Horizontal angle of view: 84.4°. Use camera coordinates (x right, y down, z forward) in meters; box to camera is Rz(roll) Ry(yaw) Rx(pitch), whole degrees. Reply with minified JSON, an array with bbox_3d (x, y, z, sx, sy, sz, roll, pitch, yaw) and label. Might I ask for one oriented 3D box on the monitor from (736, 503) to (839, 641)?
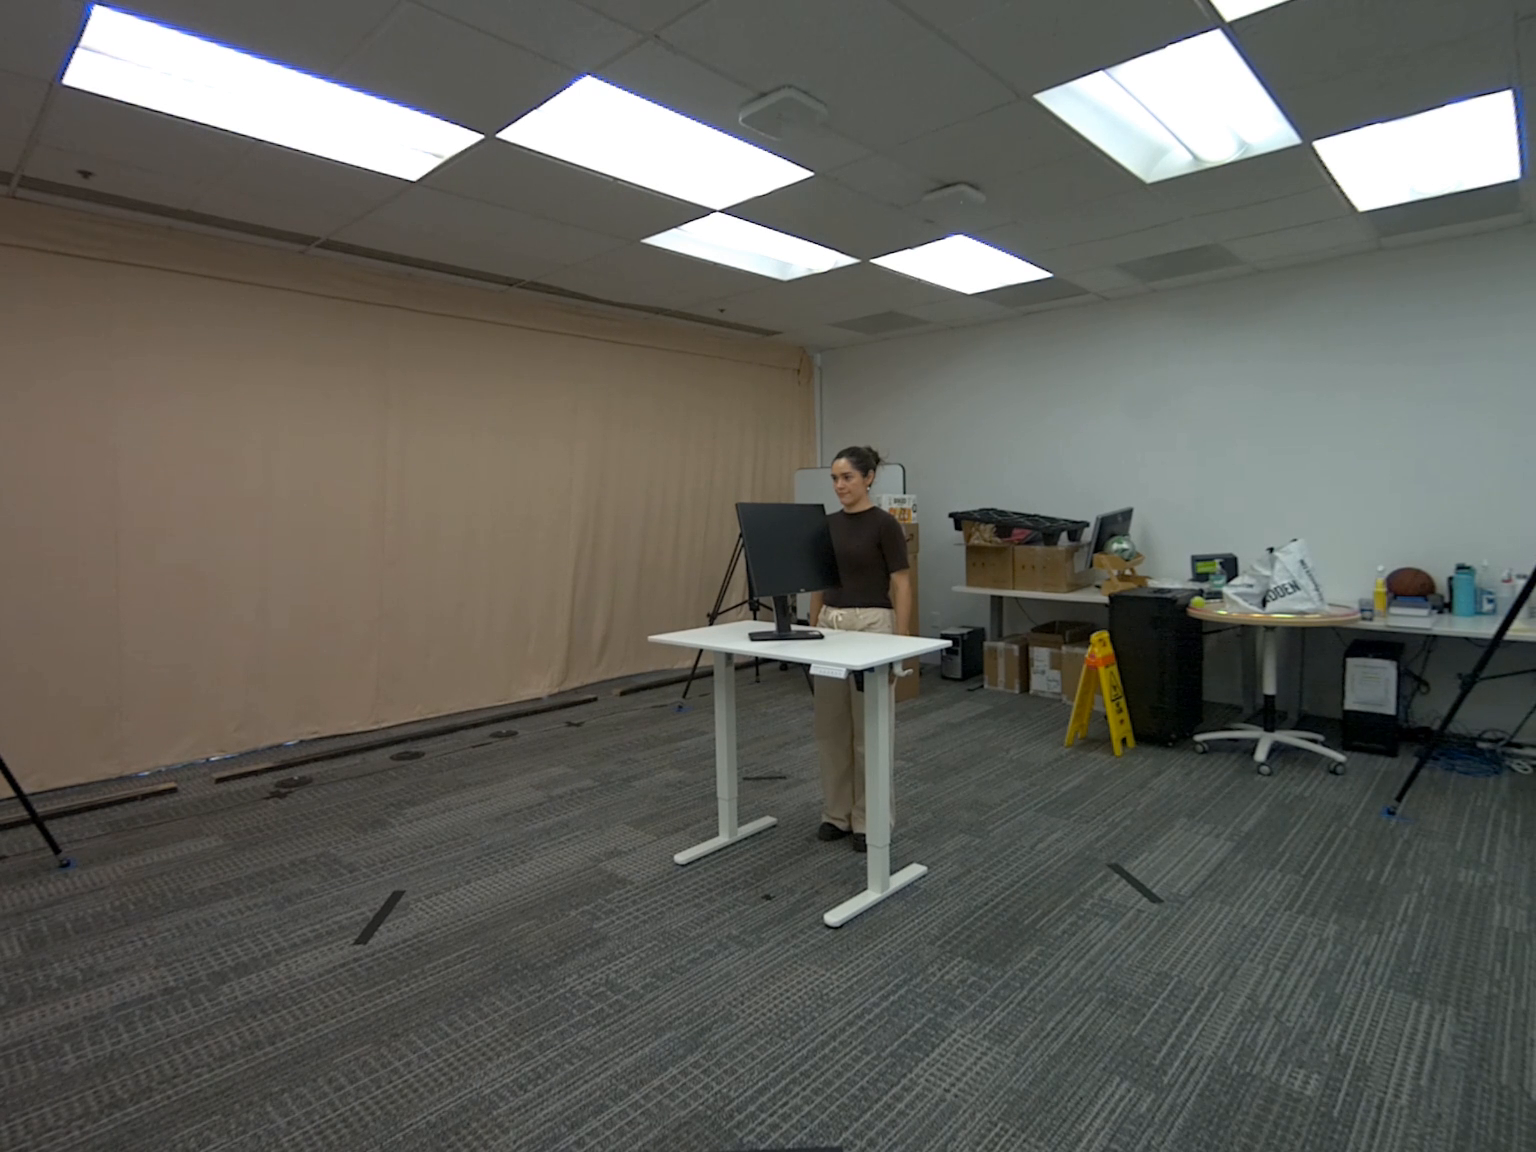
[{"bbox_3d":[0.078,-0.018,3.237,0.193,0.522,0.523,2,3,36],"label":"monitor"}]
